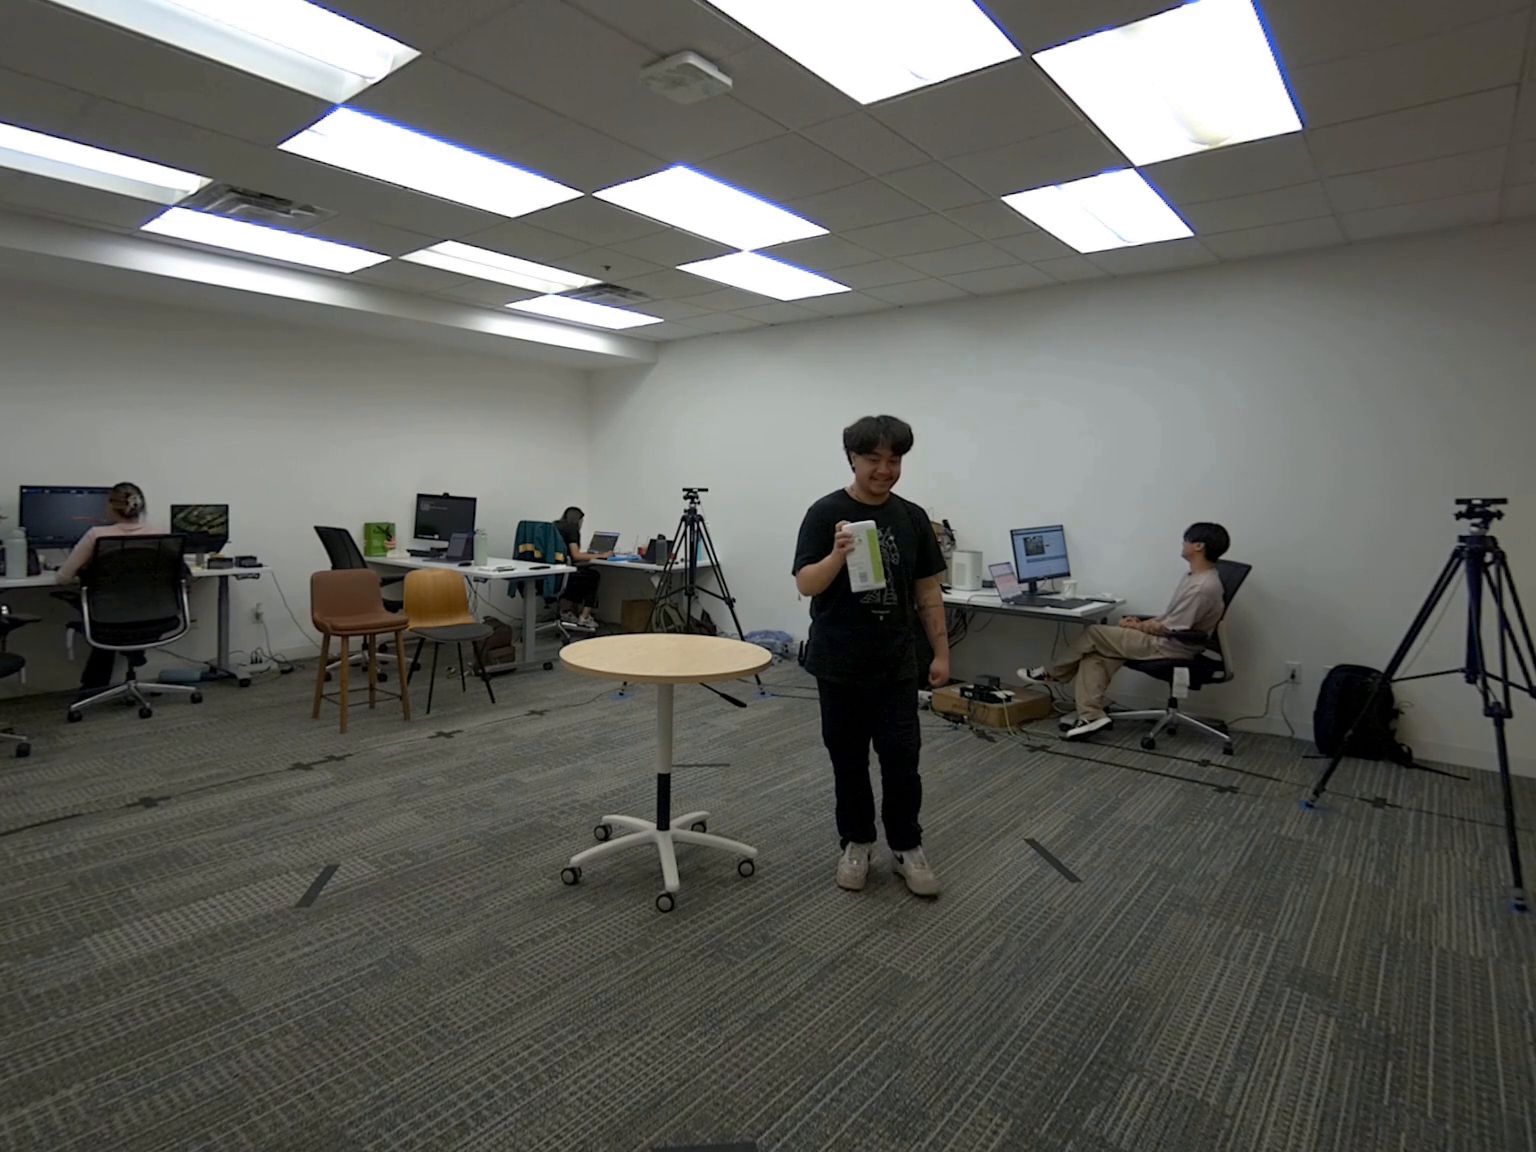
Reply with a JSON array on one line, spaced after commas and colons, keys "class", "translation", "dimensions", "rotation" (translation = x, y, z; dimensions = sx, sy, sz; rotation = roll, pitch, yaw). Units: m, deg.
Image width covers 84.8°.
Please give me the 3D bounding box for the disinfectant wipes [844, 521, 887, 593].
[{"class": "disinfectant wipes", "translation": [0.290, -0.058, 2.679], "dimensions": [0.117, 0.219, 0.117], "rotation": [-10, -4, -2]}]
